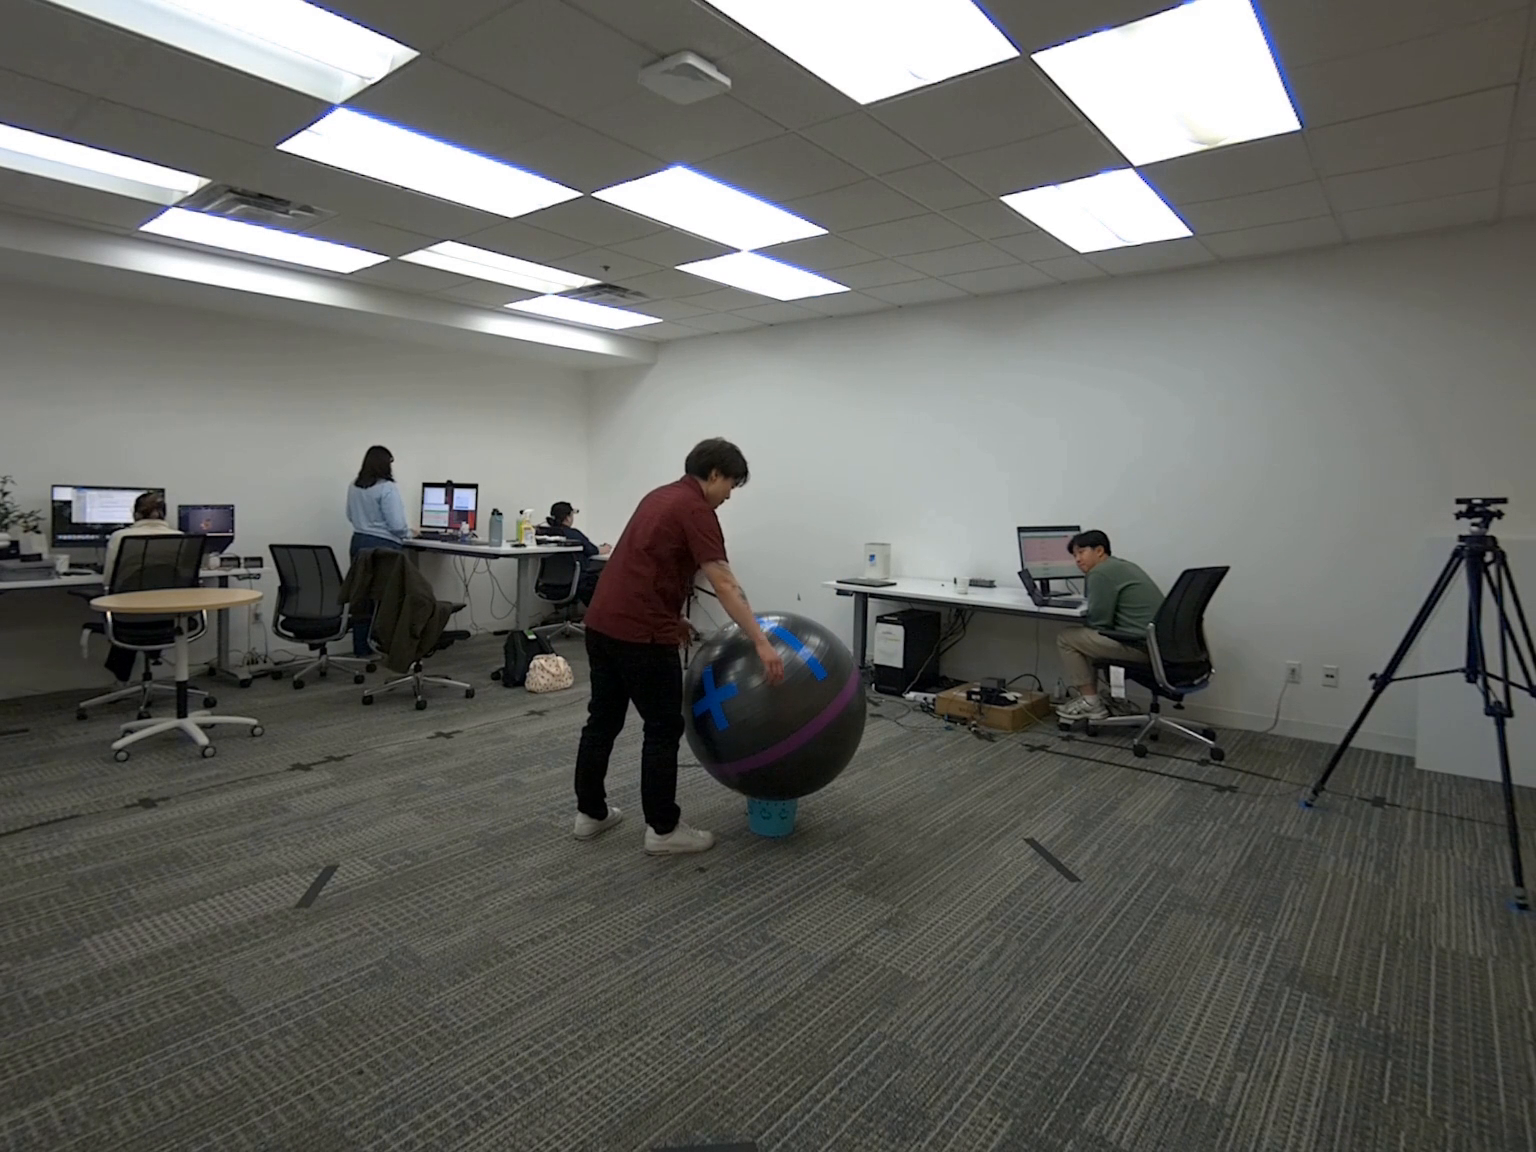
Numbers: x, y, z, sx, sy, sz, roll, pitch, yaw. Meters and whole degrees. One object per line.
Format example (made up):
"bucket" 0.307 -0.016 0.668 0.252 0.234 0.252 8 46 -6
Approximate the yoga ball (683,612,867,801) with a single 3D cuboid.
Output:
"yoga ball" 0.019 0.528 3.492 0.757 0.755 0.762 1 4 -2
